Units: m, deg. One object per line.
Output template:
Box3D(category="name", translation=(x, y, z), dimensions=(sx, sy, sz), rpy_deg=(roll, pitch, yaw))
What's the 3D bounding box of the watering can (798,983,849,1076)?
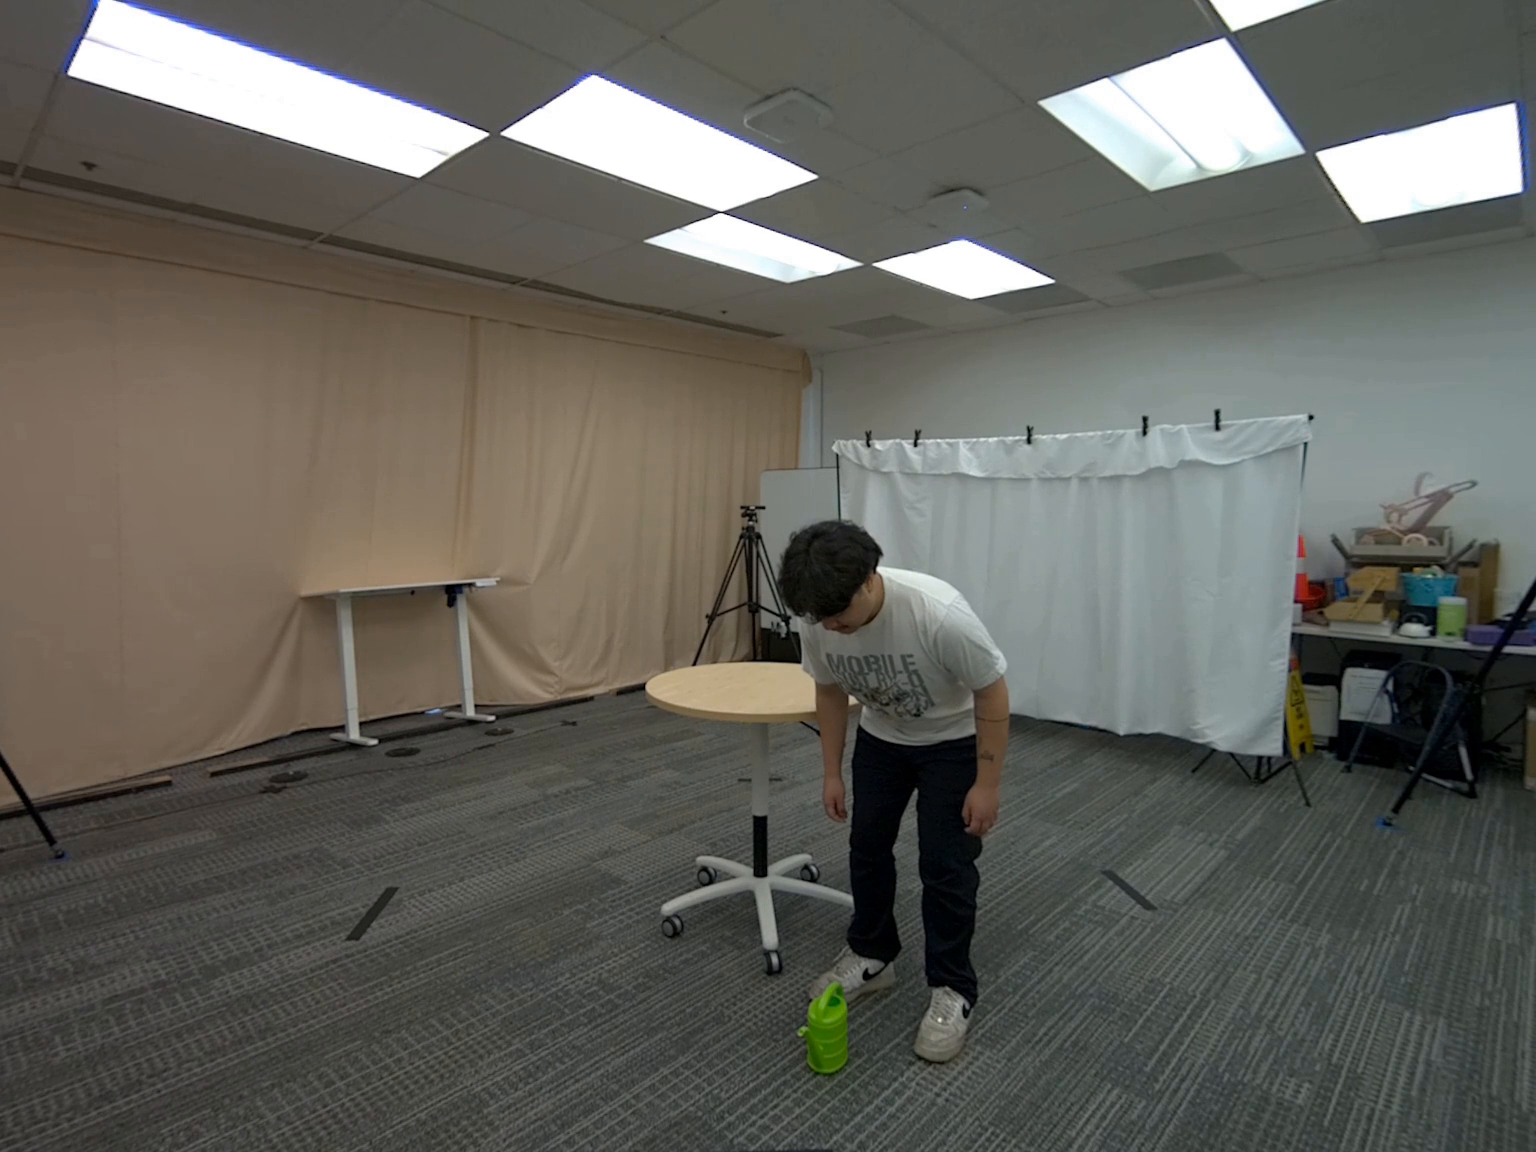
Box3D(category="watering can", translation=(0.130, 1.138, 2.065), dimensions=(0.101, 0.176, 0.270), rpy_deg=(3, 3, 37))
